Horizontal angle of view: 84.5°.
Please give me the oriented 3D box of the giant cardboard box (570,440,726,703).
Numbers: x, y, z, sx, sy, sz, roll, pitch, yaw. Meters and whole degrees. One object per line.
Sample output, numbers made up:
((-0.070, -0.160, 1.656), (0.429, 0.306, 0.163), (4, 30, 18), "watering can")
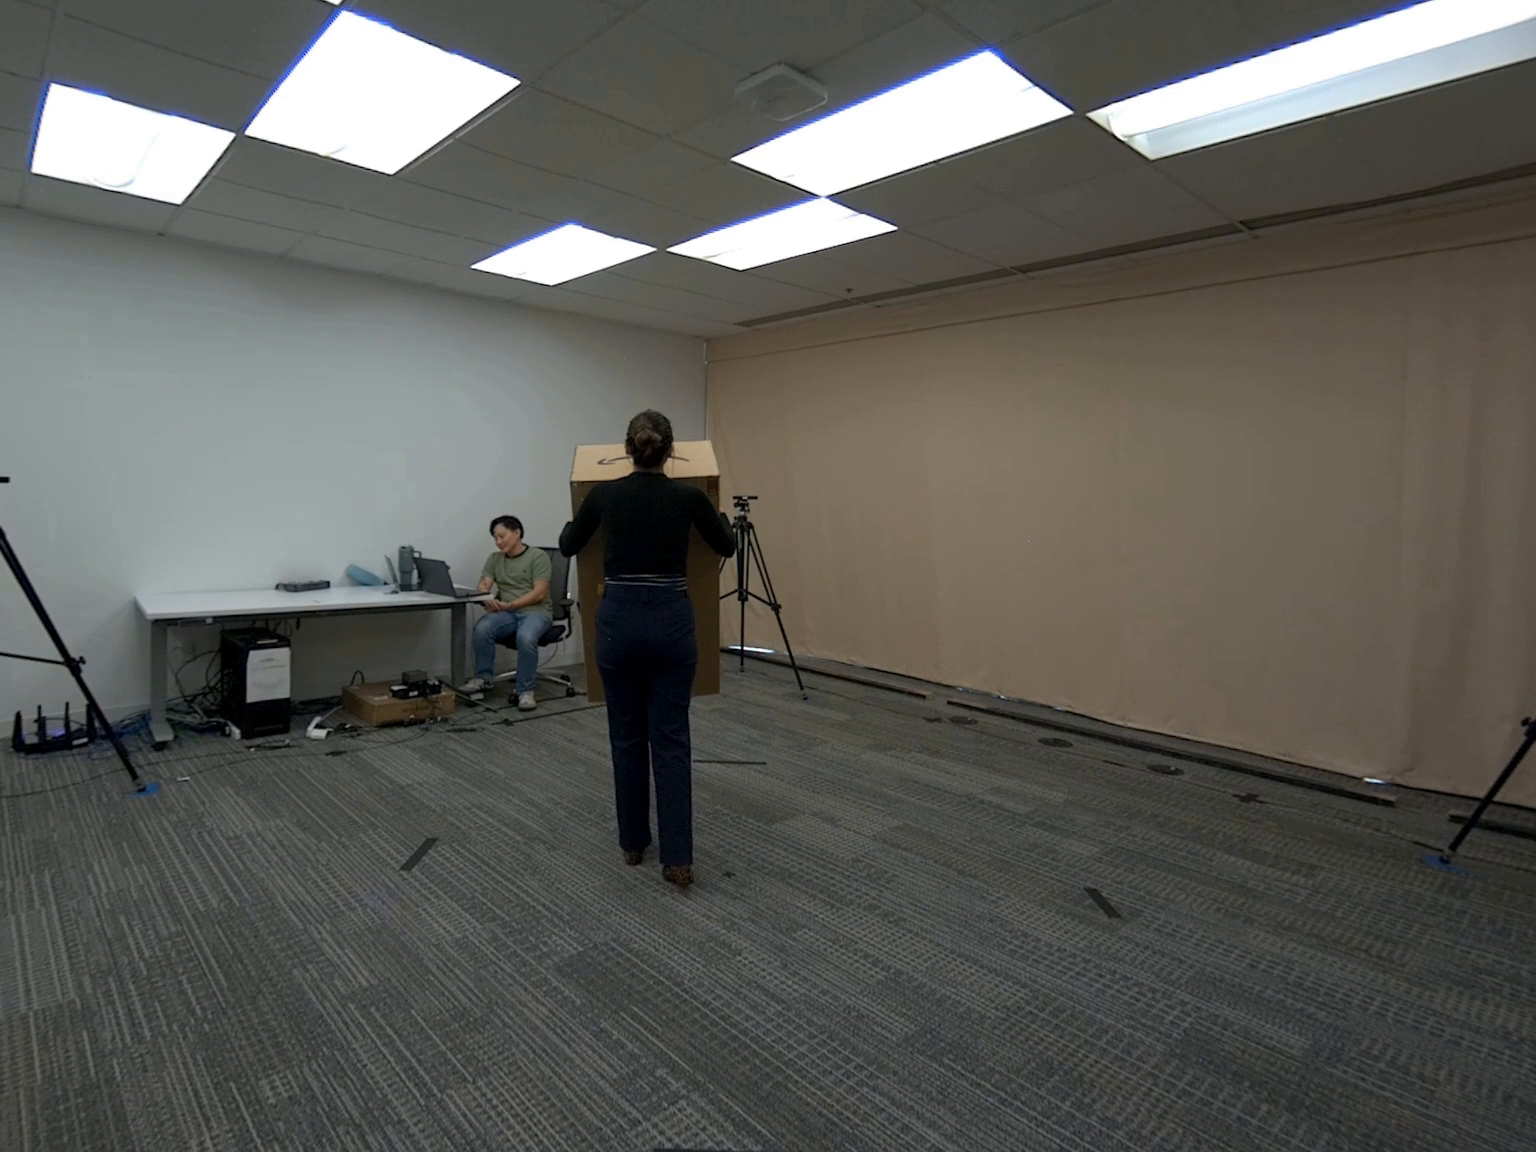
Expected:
((-0.511, -0.017, 3.608), (0.575, 1.008, 0.435), (-2, 26, -7), "giant cardboard box")
